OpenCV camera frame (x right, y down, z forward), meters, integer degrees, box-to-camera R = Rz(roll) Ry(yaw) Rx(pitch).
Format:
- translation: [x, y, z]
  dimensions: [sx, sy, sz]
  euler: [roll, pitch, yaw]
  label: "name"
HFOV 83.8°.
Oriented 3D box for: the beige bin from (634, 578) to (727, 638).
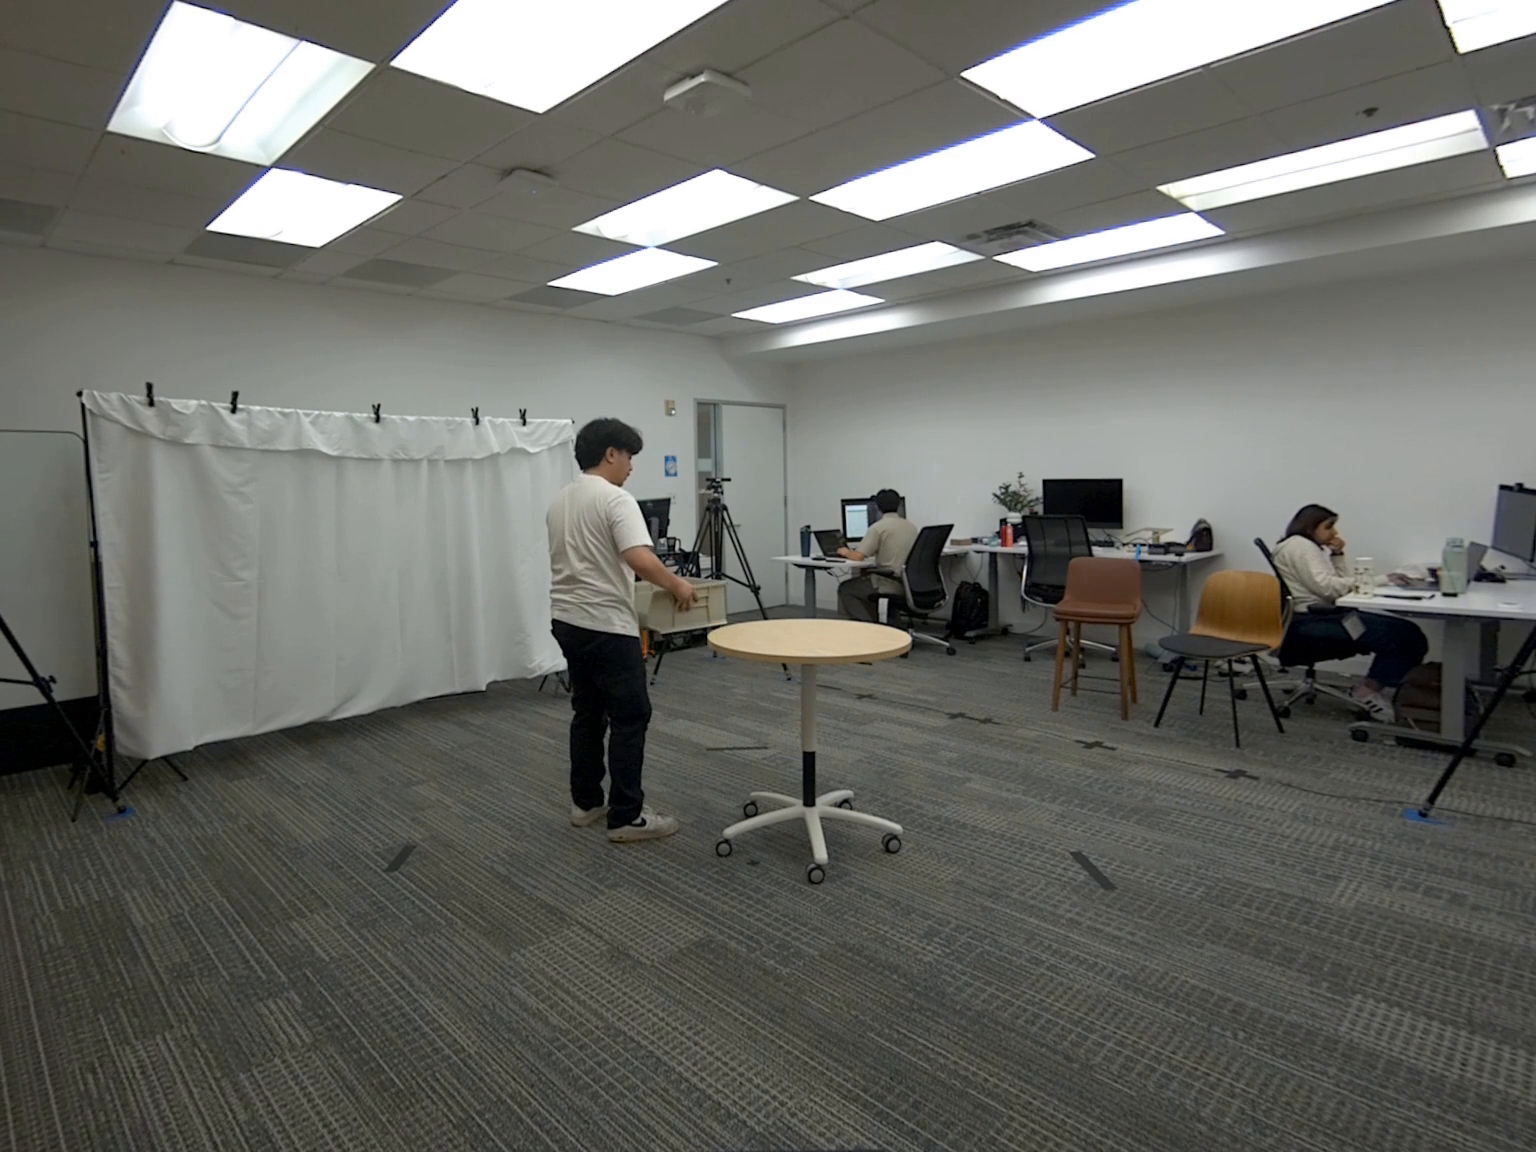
- translation: [-0.430, 0.120, 3.693]
  dimensions: [0.369, 0.188, 0.433]
  euler: [-5, 5, -30]
  label: "beige bin"
